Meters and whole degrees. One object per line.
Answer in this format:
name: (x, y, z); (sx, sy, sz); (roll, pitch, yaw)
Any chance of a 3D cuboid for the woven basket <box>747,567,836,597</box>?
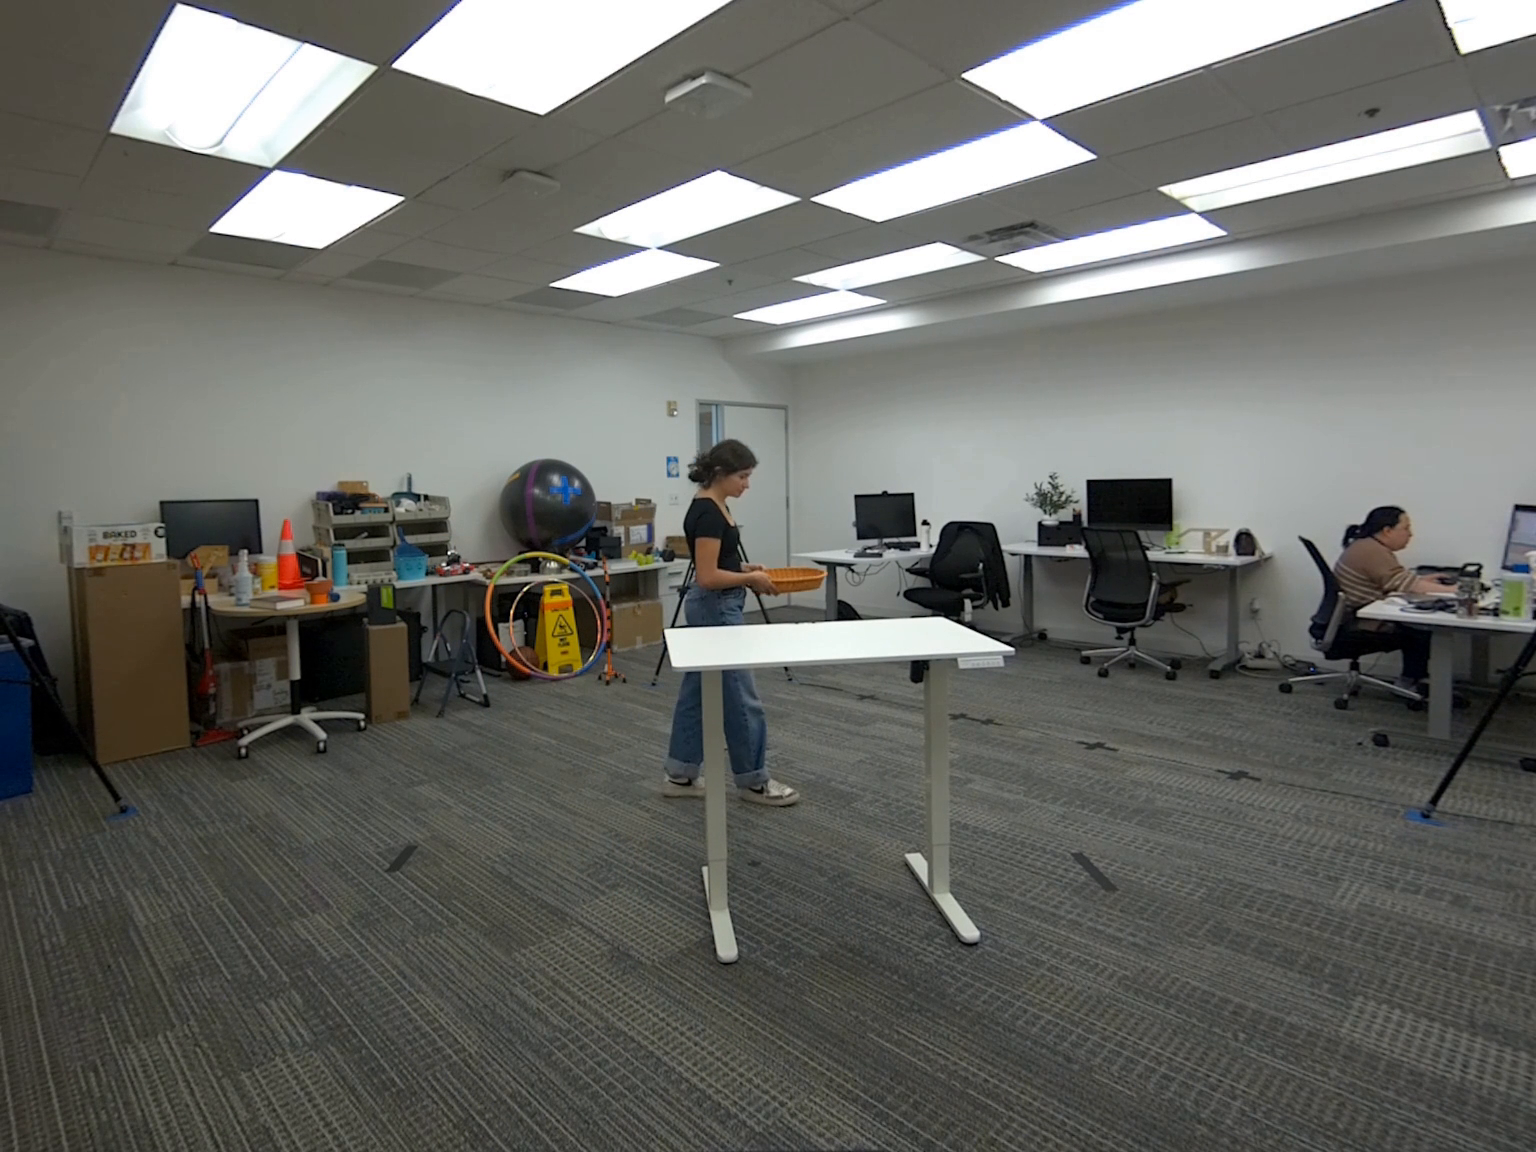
woven basket: (0.085, 0.022, 3.784); (0.346, 0.073, 0.258); (-2, 11, -14)
